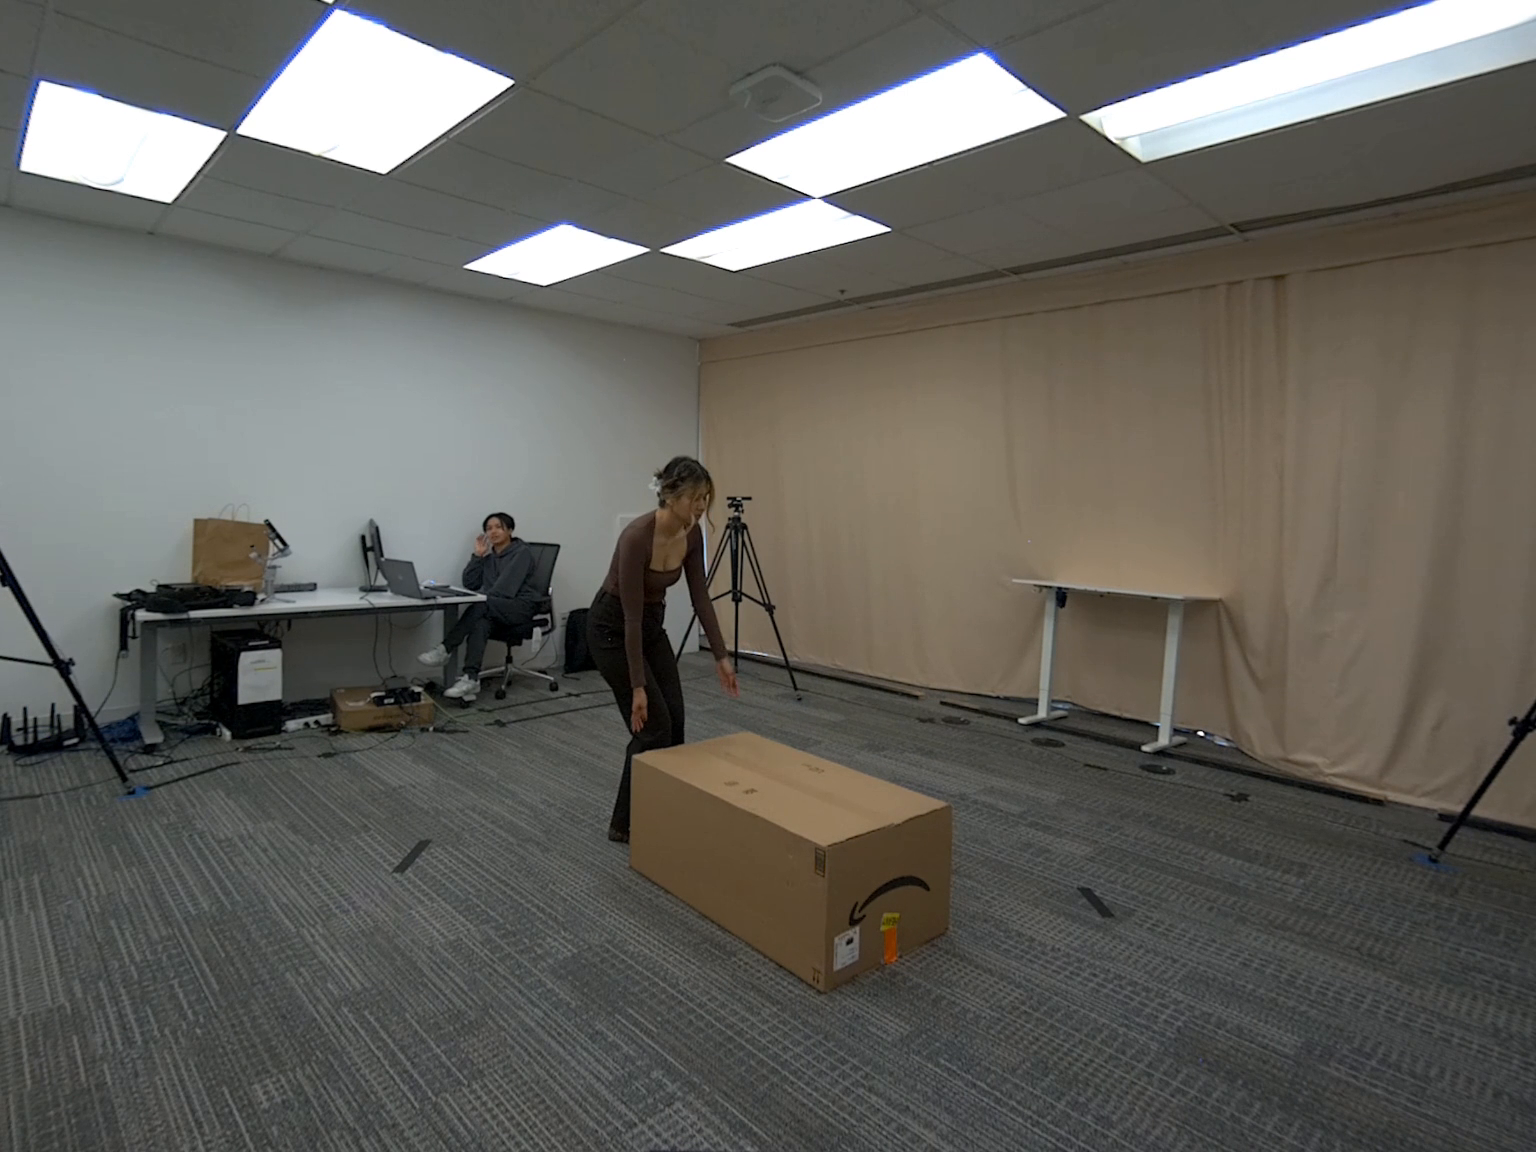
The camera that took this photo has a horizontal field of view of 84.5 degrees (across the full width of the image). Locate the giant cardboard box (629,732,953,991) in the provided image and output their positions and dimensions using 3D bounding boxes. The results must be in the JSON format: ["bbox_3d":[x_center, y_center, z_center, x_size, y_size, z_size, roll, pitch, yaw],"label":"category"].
[{"bbox_3d":[0.036,0.917,2.928,0.570,0.446,1.054,-1,6,-40],"label":"giant cardboard box"}]
